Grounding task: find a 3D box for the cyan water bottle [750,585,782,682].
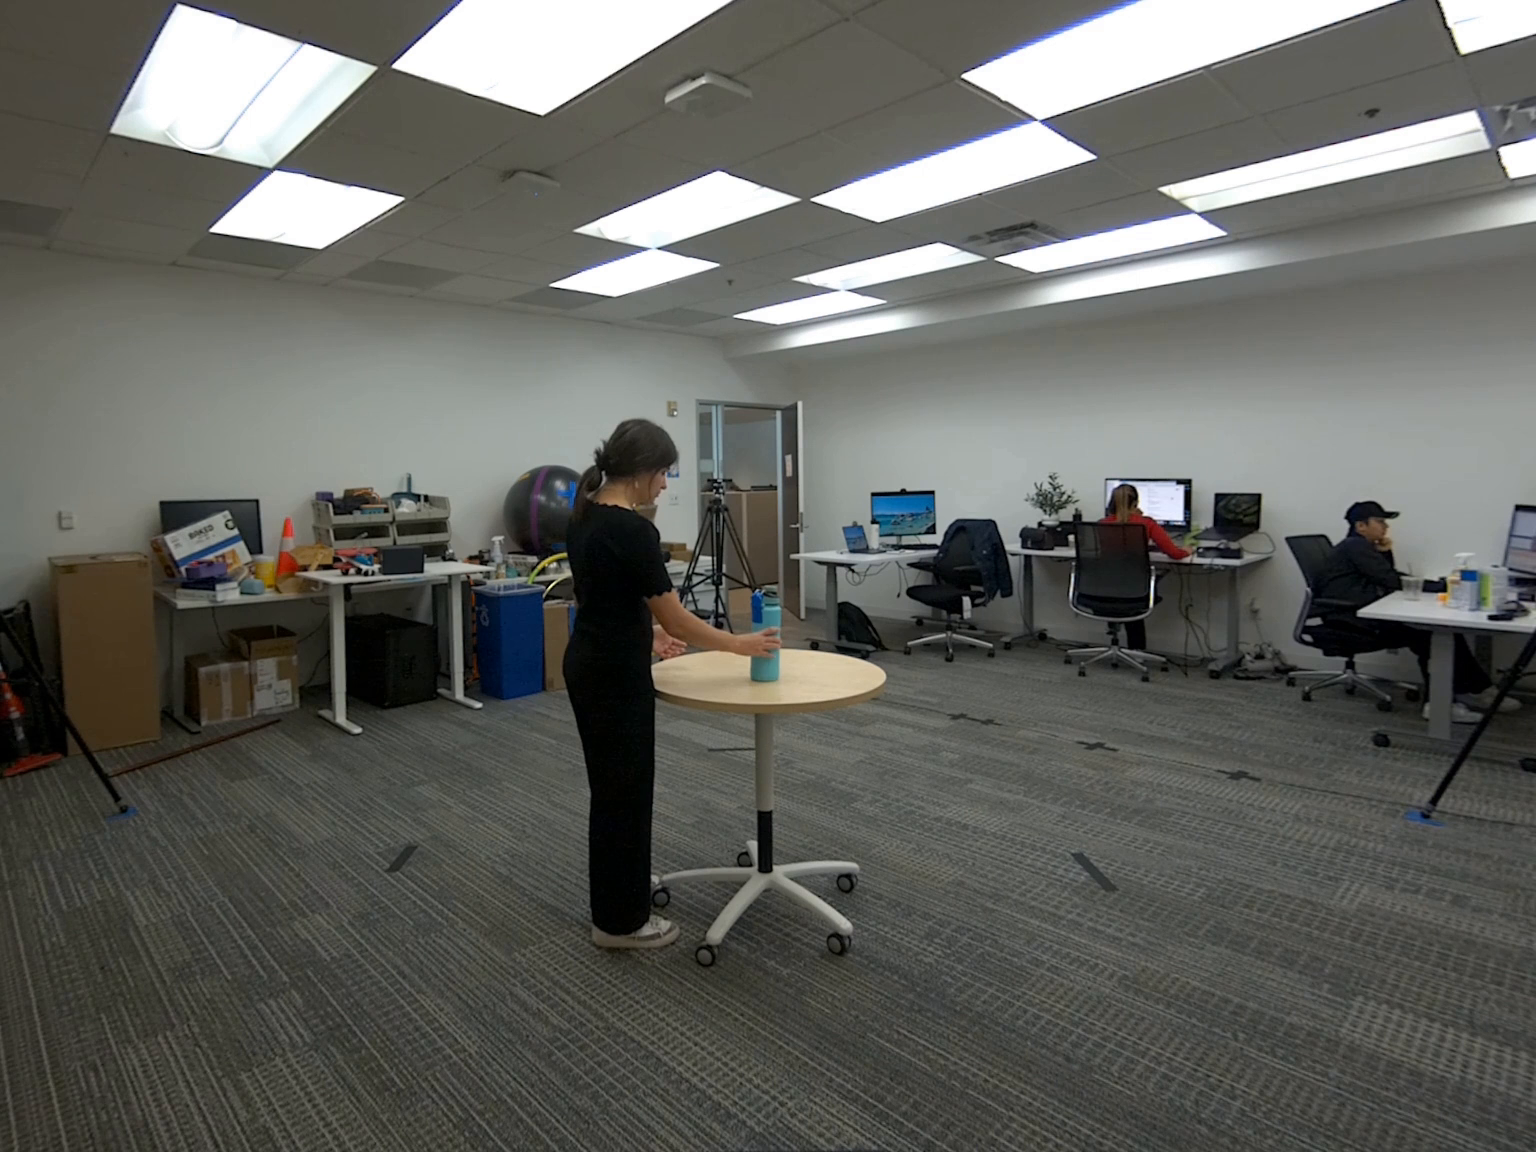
[{"bbox_3d":[-0.004,0.171,2.616,0.092,0.283,0.092,-1,3,-2],"label":"cyan water bottle"}]
